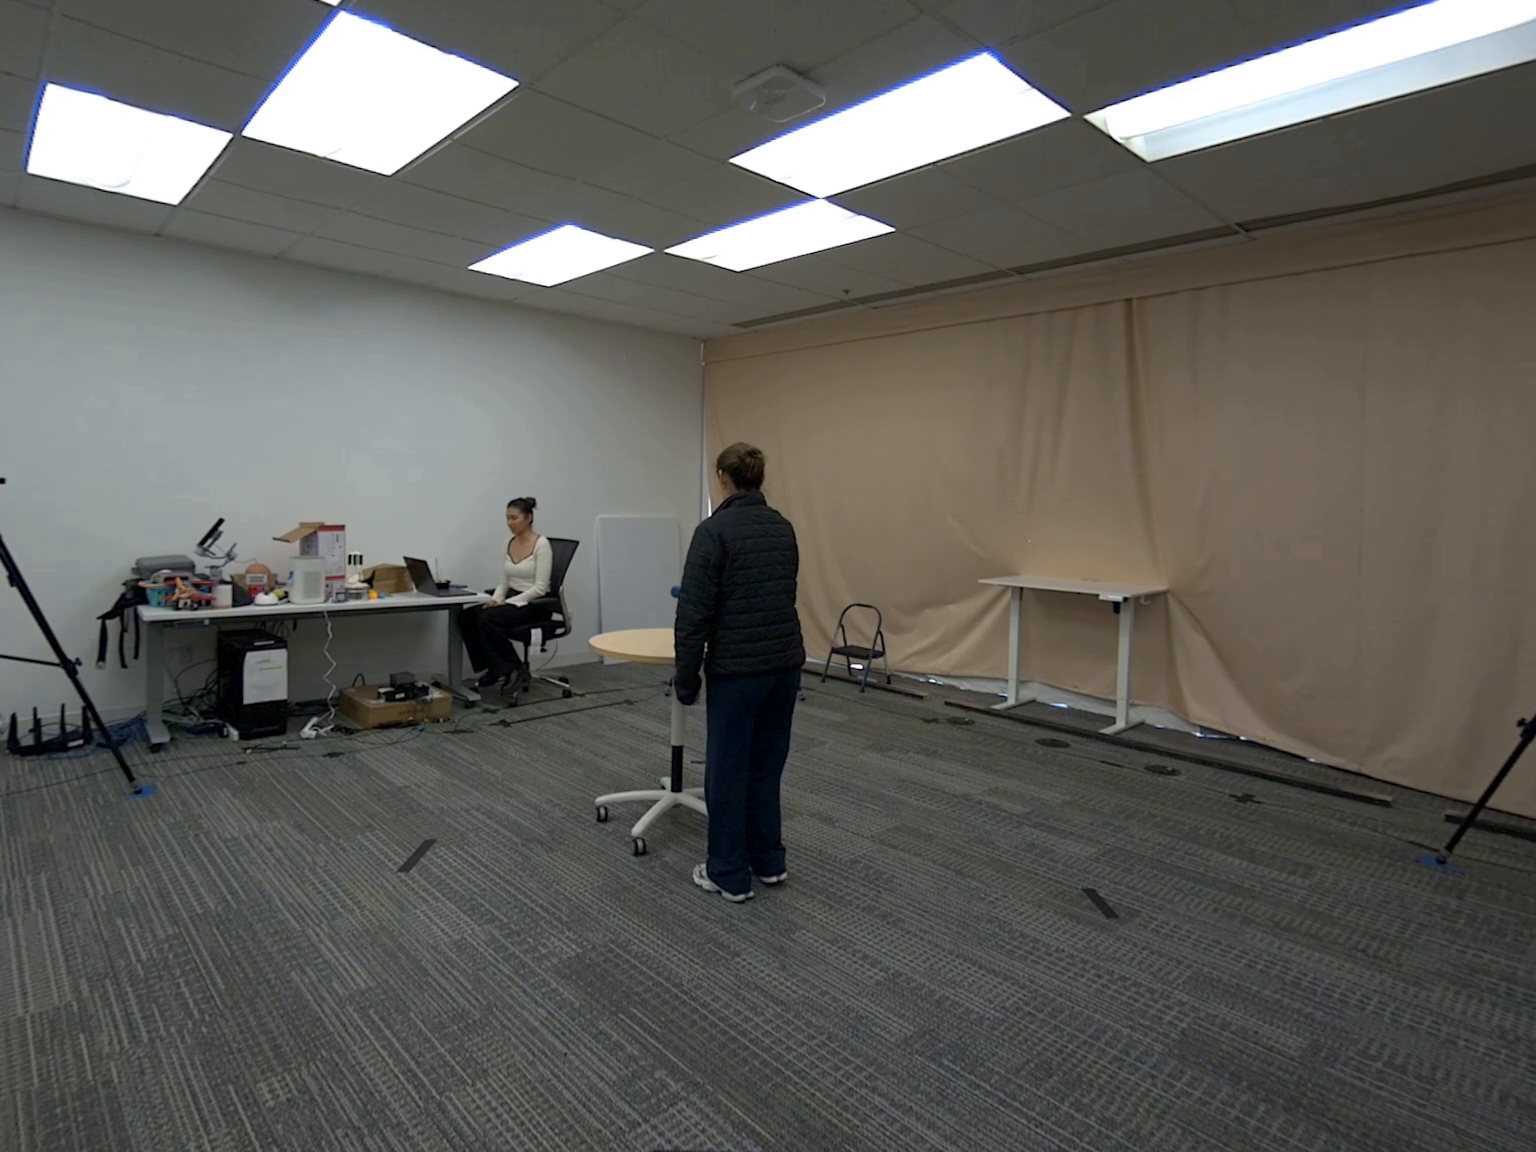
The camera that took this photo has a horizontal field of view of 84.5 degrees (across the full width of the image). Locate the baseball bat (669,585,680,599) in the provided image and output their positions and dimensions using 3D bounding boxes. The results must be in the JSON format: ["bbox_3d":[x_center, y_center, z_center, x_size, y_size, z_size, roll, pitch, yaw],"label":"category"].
[{"bbox_3d":[-0.243,0.056,3.480,0.091,0.089,0.534,3,5,25],"label":"baseball bat"}]
